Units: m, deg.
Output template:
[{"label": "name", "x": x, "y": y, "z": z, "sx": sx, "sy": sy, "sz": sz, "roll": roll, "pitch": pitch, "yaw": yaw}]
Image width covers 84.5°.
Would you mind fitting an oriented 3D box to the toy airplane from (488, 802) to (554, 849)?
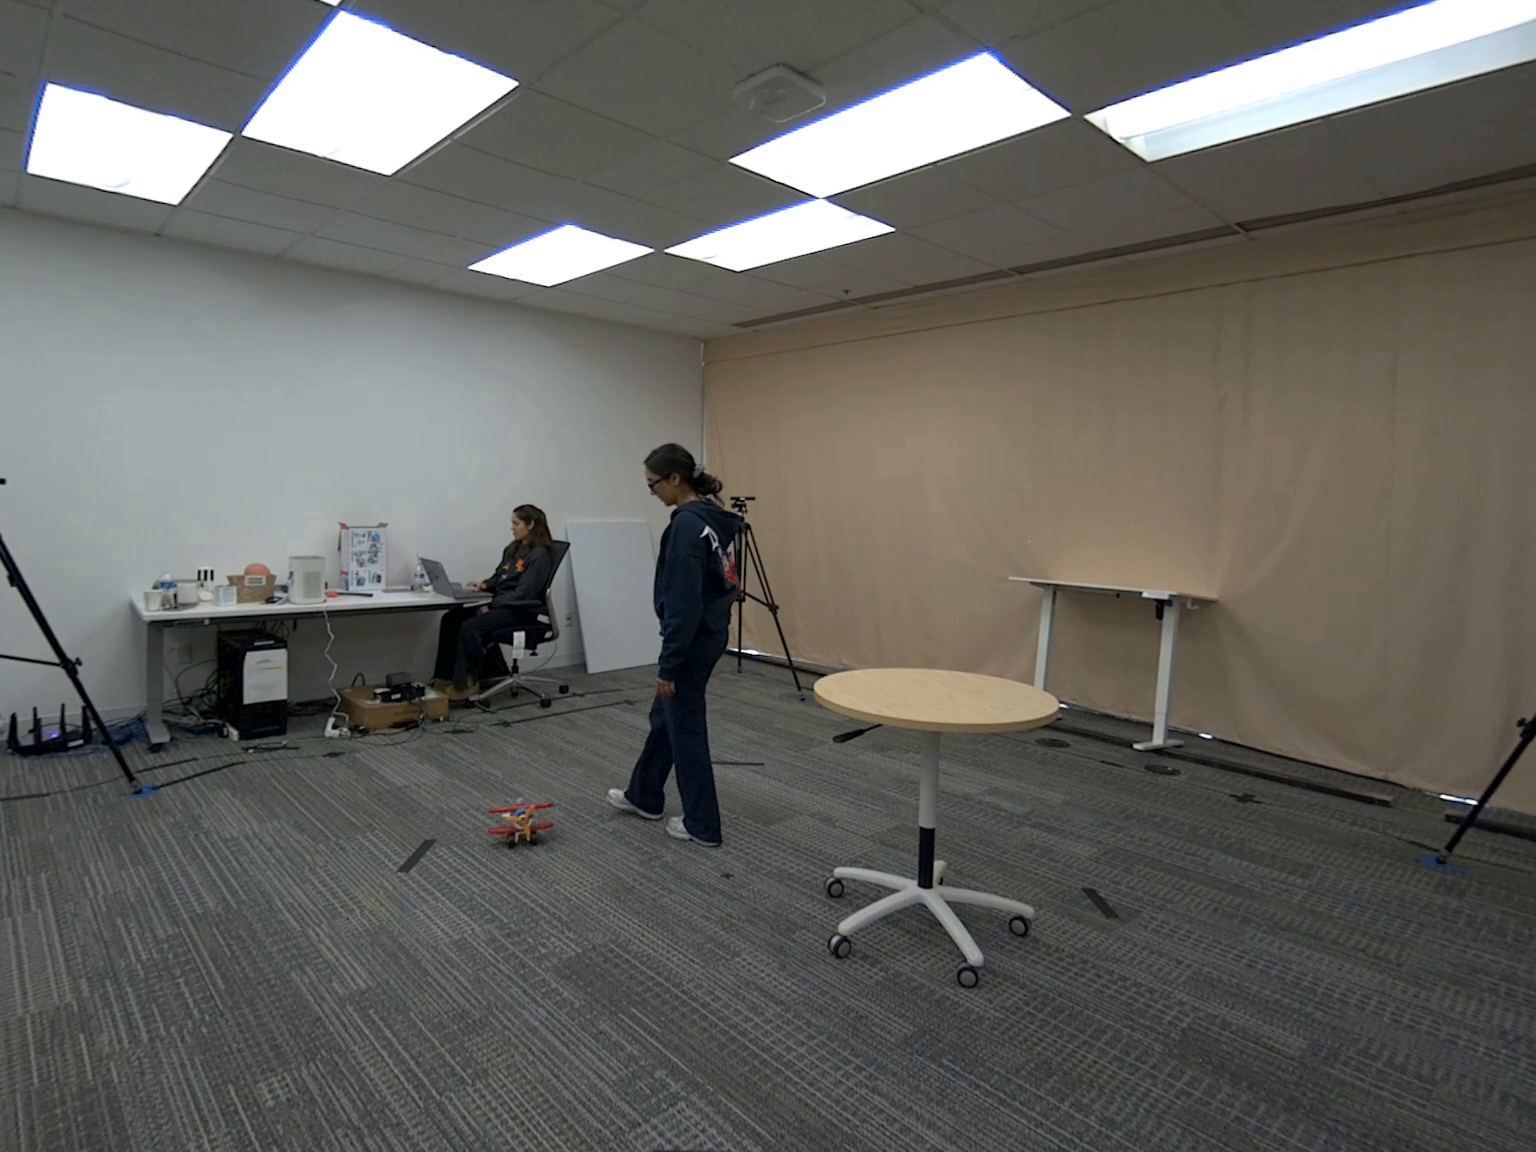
[{"label": "toy airplane", "x": -1.033, "y": 0.988, "z": 3.402, "sx": 0.266, "sy": 0.156, "sz": 0.245, "roll": 7, "pitch": 8, "yaw": 41}]
